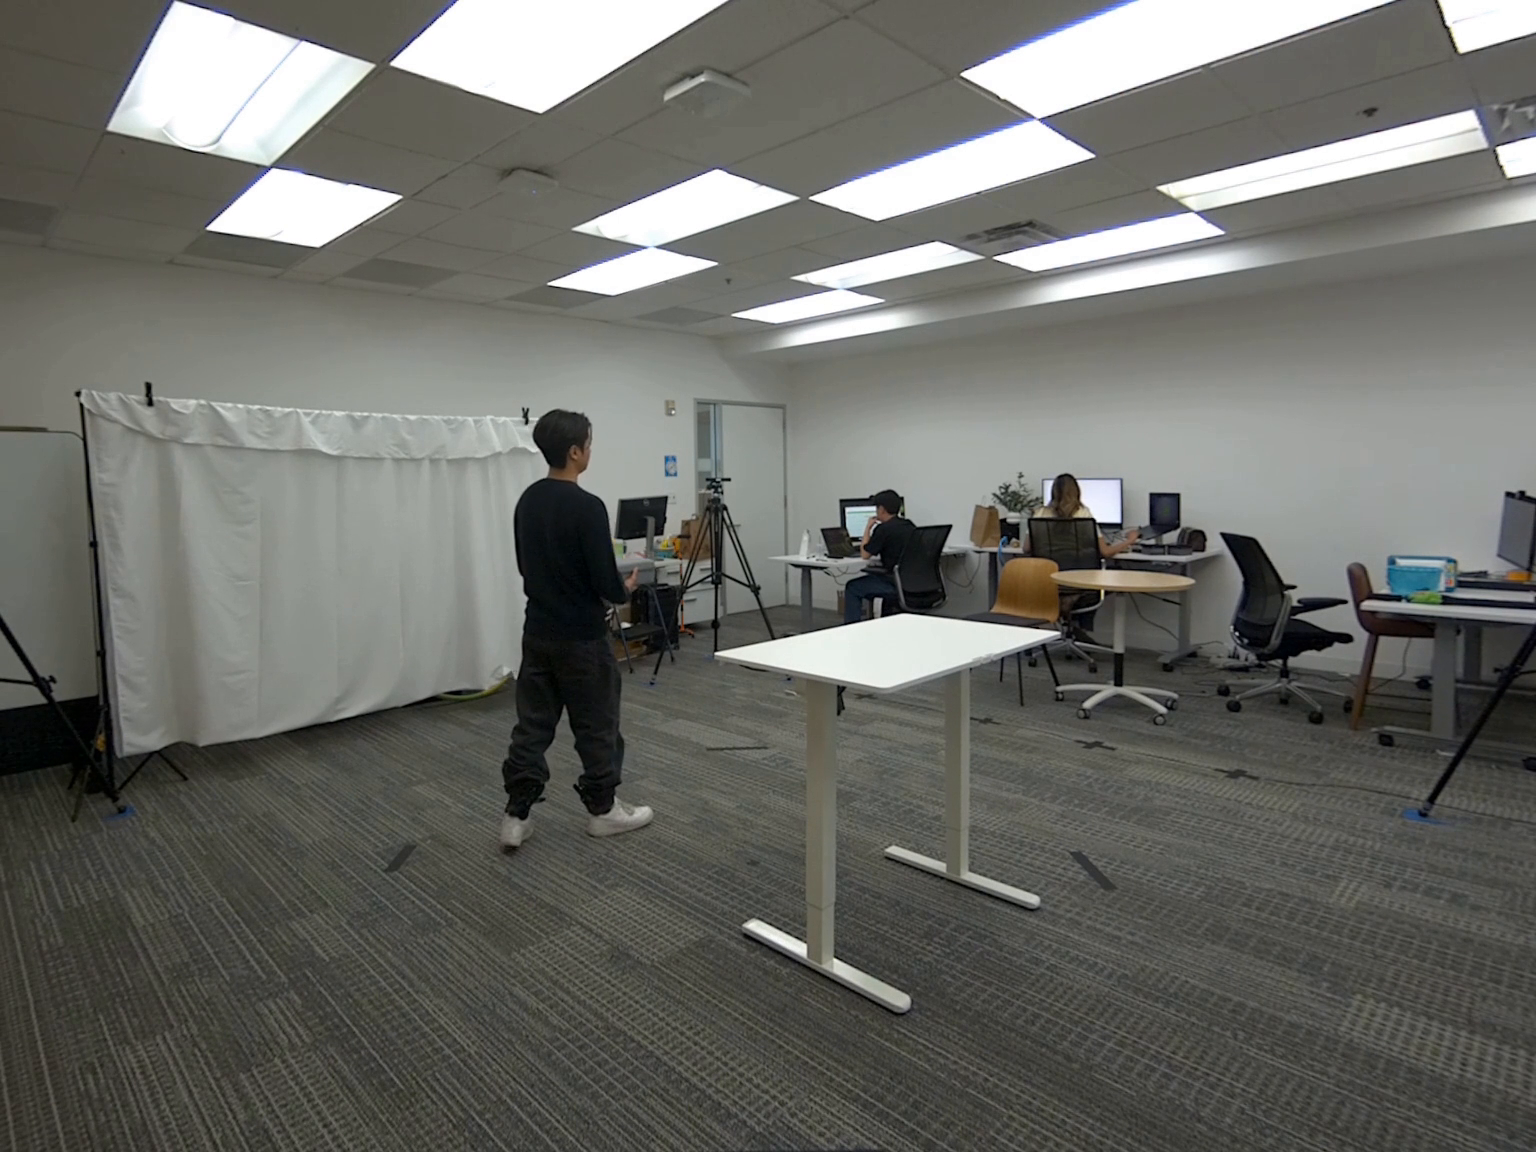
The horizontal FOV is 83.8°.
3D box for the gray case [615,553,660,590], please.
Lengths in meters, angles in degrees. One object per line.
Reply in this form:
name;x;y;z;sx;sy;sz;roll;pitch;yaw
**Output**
gray case;-0.641;-0.022;3.589;0.269;0.104;0.250;11;11;40
